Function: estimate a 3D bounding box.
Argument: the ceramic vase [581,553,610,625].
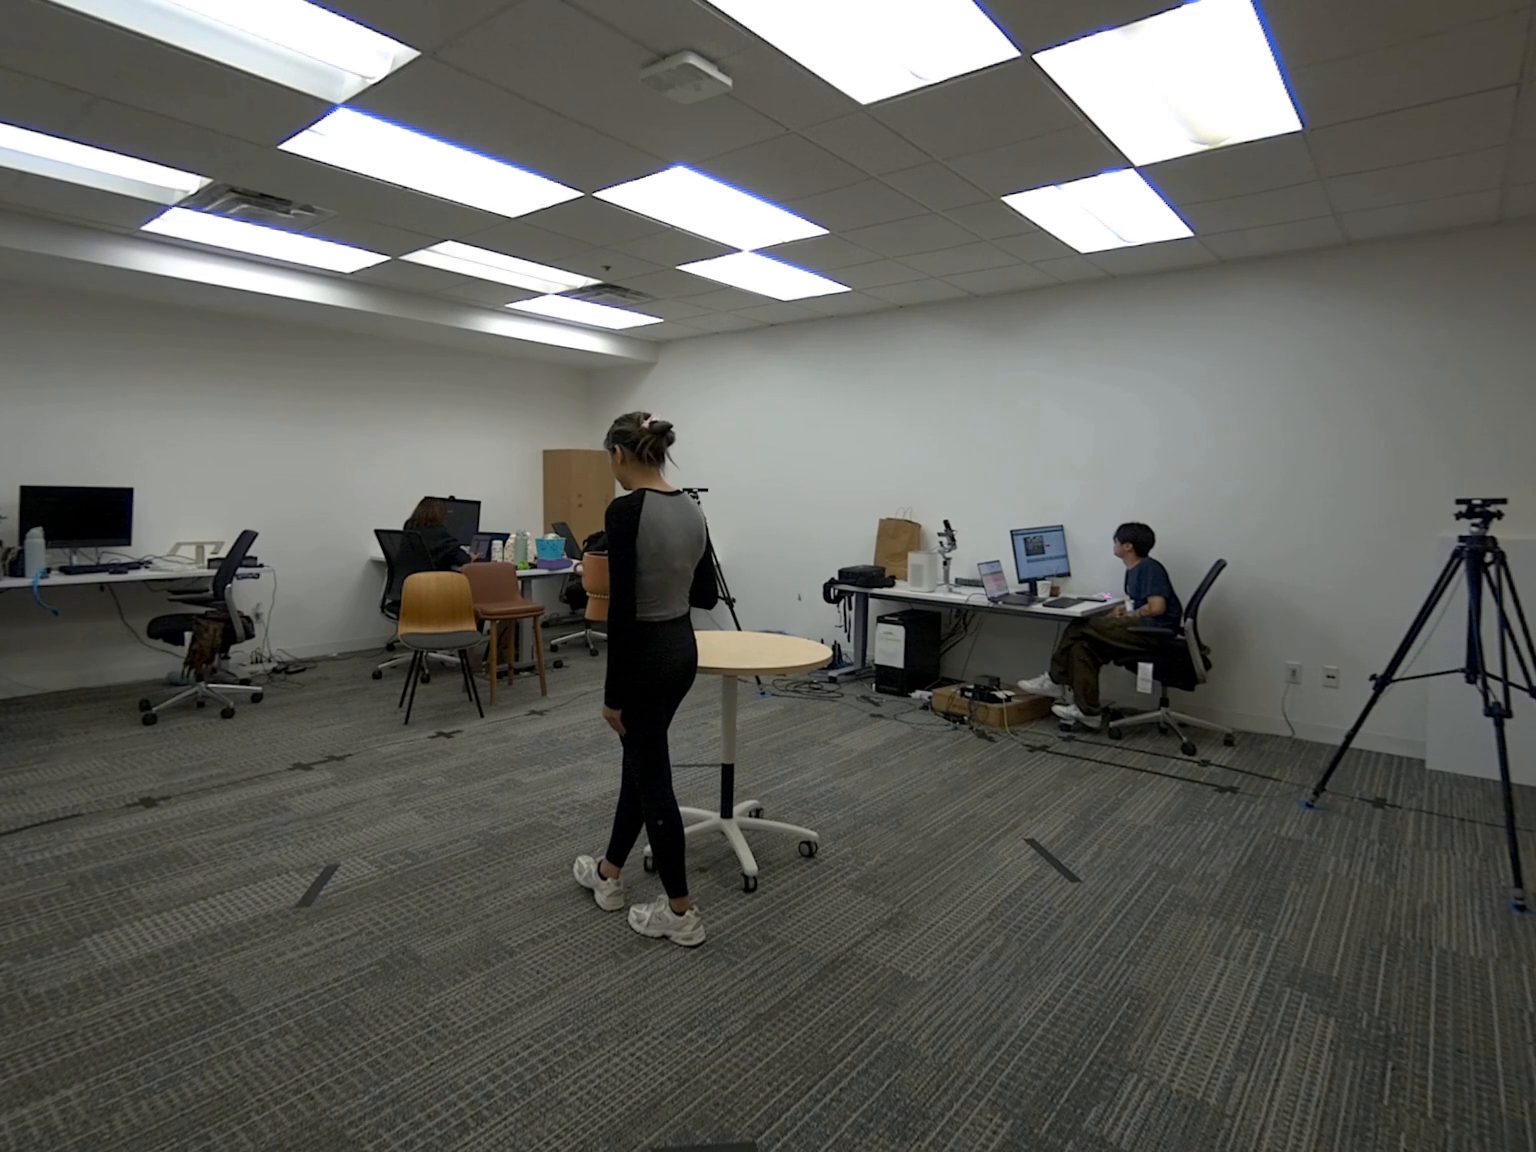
[{"bbox_3d":[-0.575,0.033,2.894,0.162,0.219,0.132,7,6,18],"label":"ceramic vase"}]
